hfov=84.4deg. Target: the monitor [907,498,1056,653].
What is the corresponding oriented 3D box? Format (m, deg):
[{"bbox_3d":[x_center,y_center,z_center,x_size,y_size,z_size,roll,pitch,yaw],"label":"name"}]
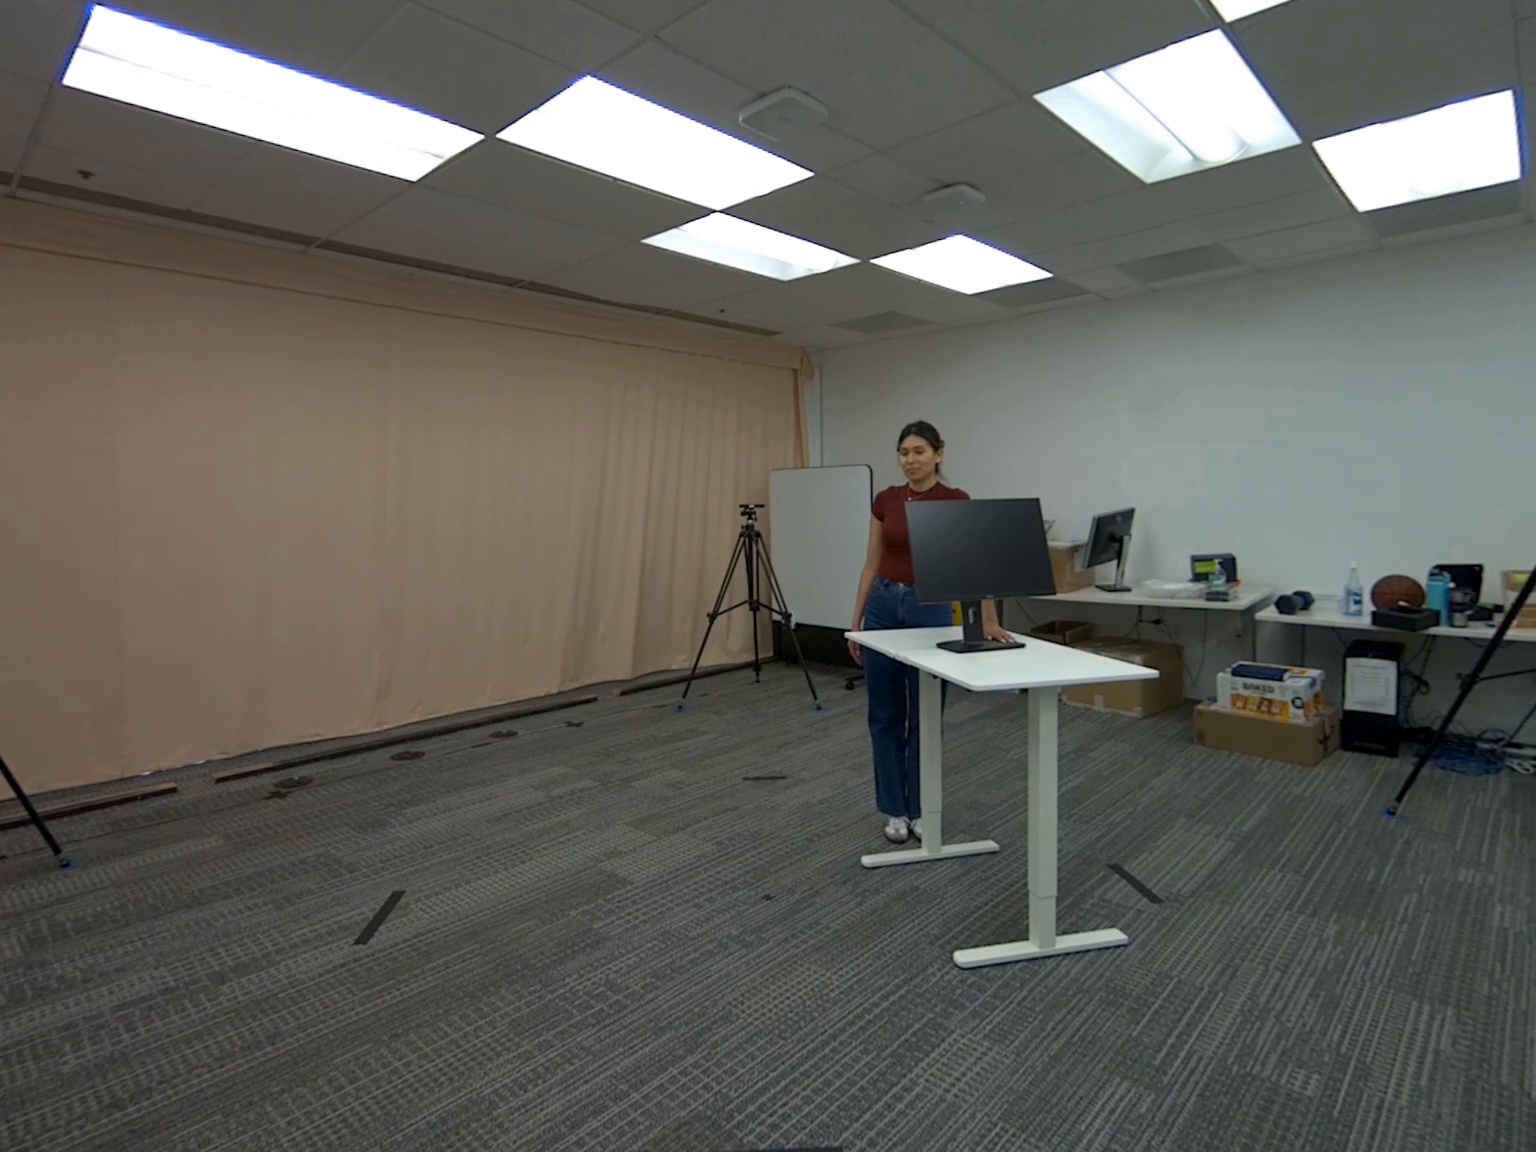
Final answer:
[{"bbox_3d":[0.734,-0.008,2.939,0.529,0.522,0.191,-3,1,-18],"label":"monitor"}]
